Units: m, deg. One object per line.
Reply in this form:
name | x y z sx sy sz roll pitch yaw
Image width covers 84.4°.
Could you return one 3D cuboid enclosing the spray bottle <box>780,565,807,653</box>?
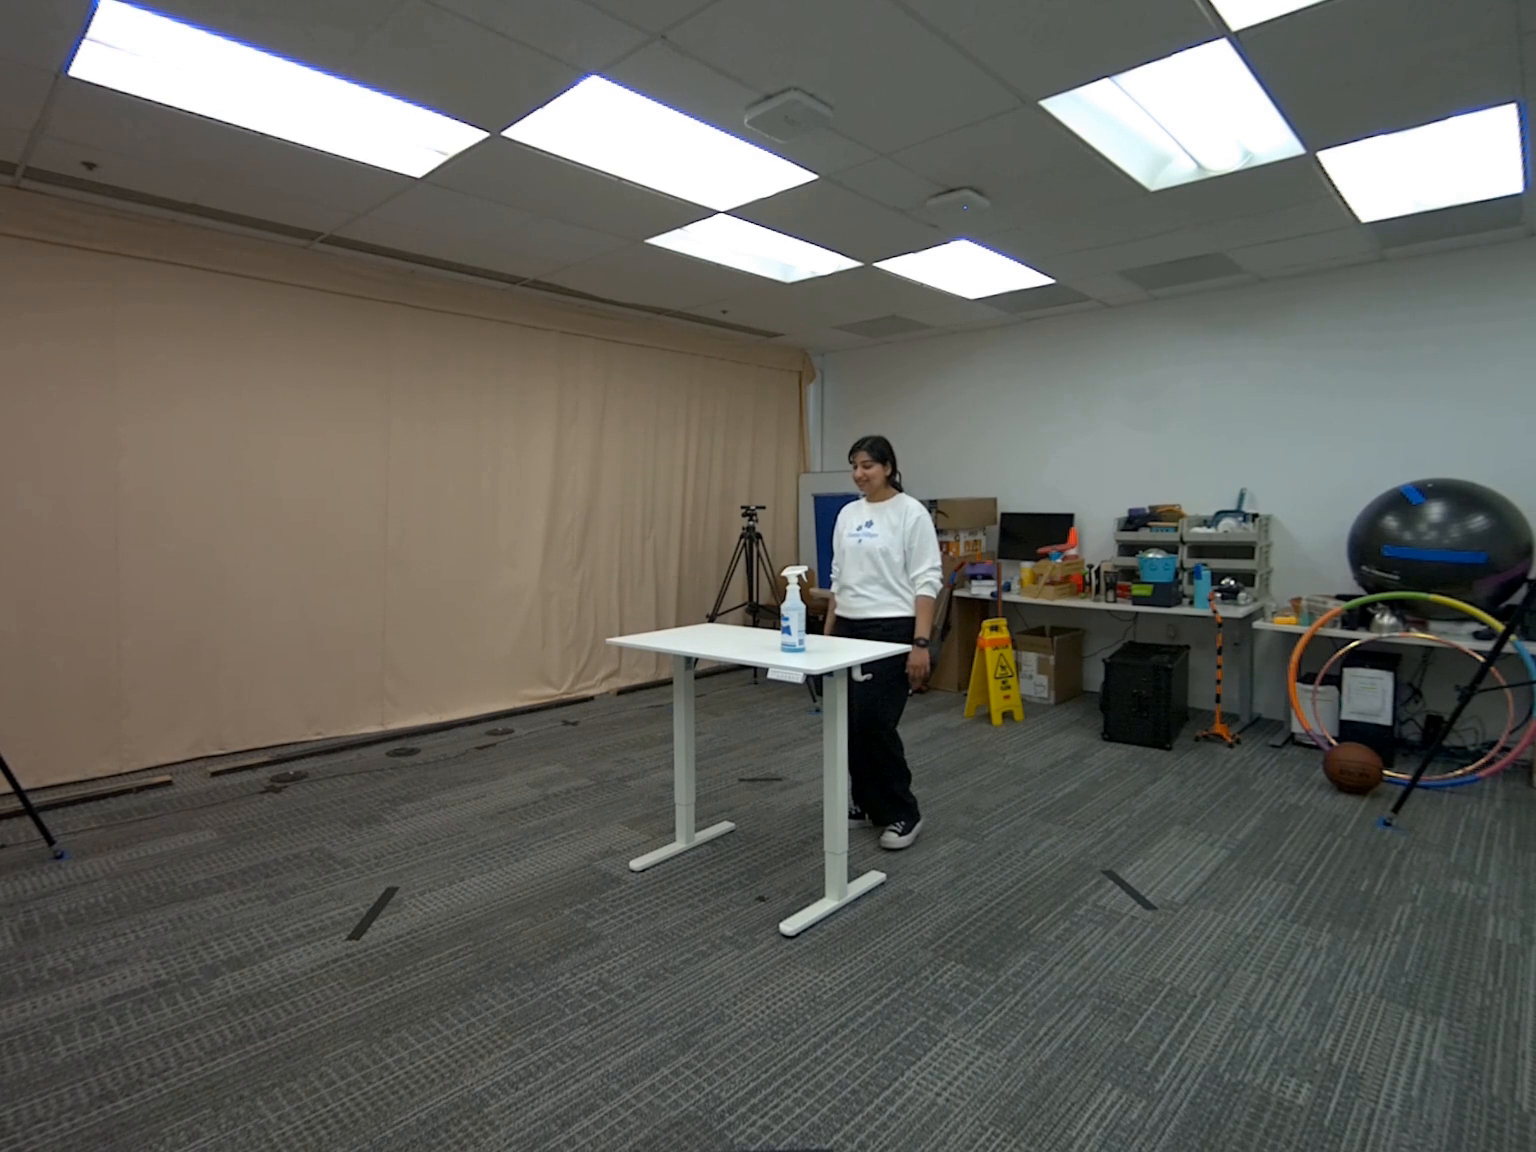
spray bottle | 0.099 0.116 2.939 0.092 0.297 0.085 1 3 22
